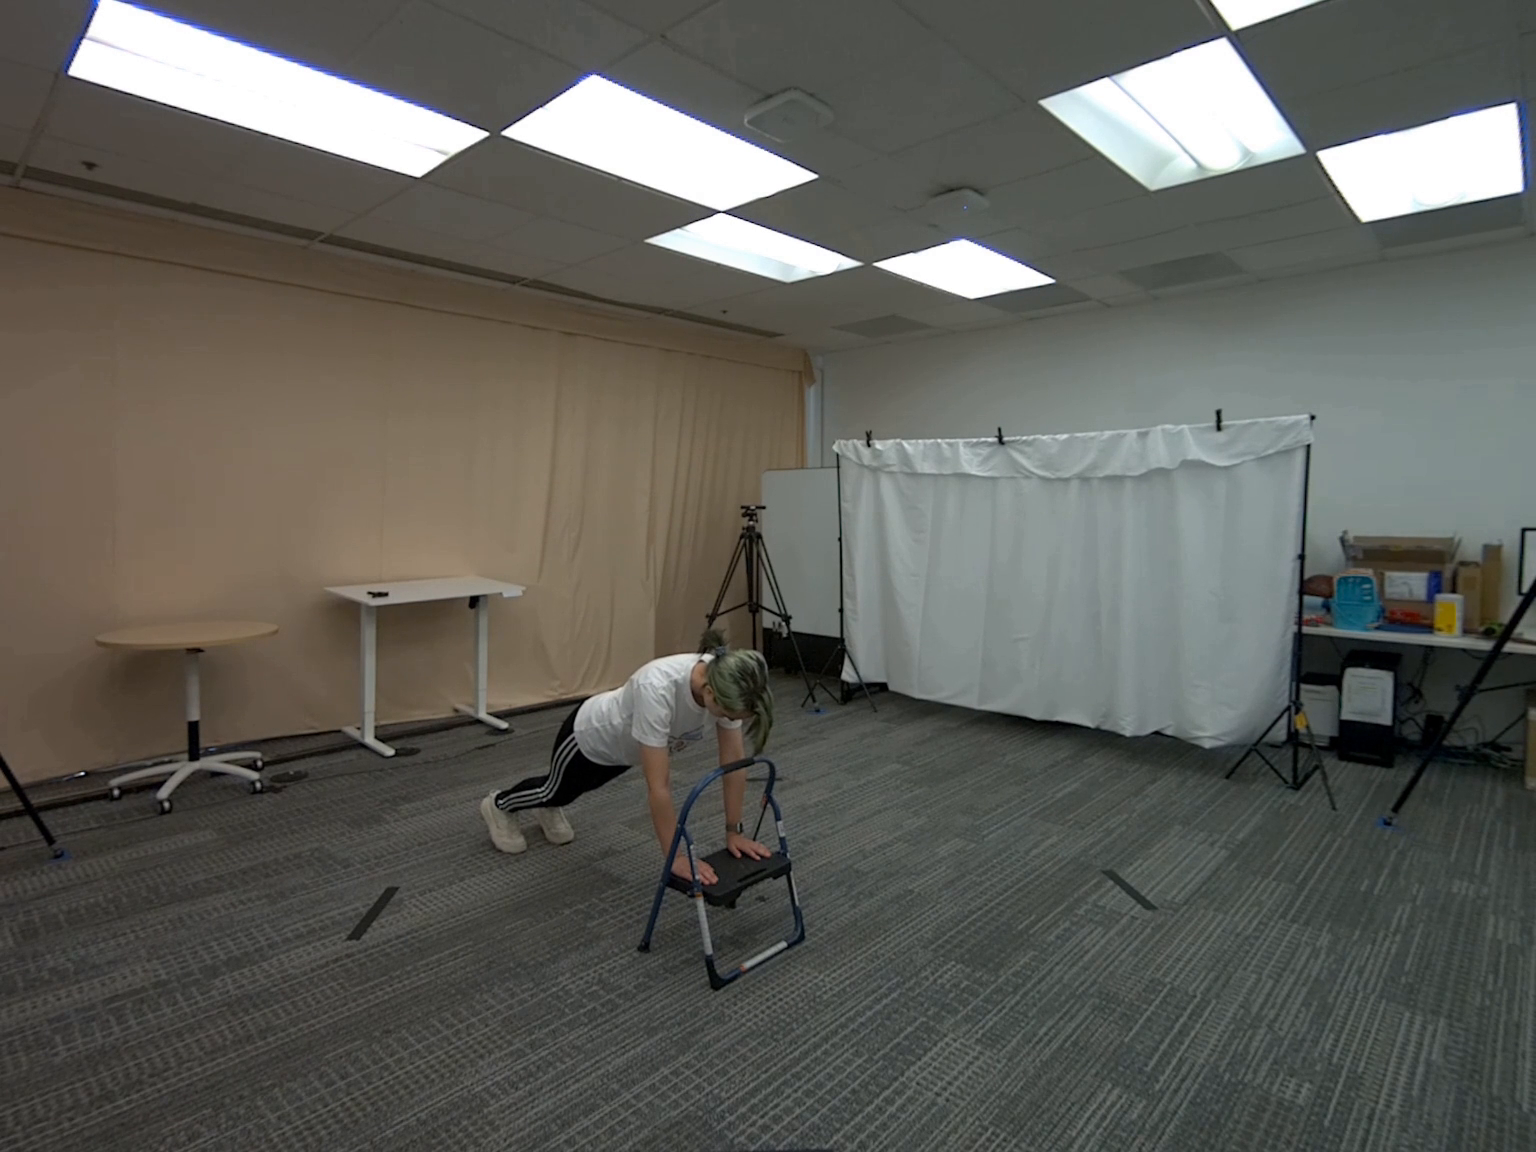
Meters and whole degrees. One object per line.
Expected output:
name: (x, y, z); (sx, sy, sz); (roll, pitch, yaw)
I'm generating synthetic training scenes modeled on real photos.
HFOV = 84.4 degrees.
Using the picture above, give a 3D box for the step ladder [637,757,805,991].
step ladder: (-0.139, 0.870, 2.662); (0.361, 0.605, 0.417); (3, 4, 42)
